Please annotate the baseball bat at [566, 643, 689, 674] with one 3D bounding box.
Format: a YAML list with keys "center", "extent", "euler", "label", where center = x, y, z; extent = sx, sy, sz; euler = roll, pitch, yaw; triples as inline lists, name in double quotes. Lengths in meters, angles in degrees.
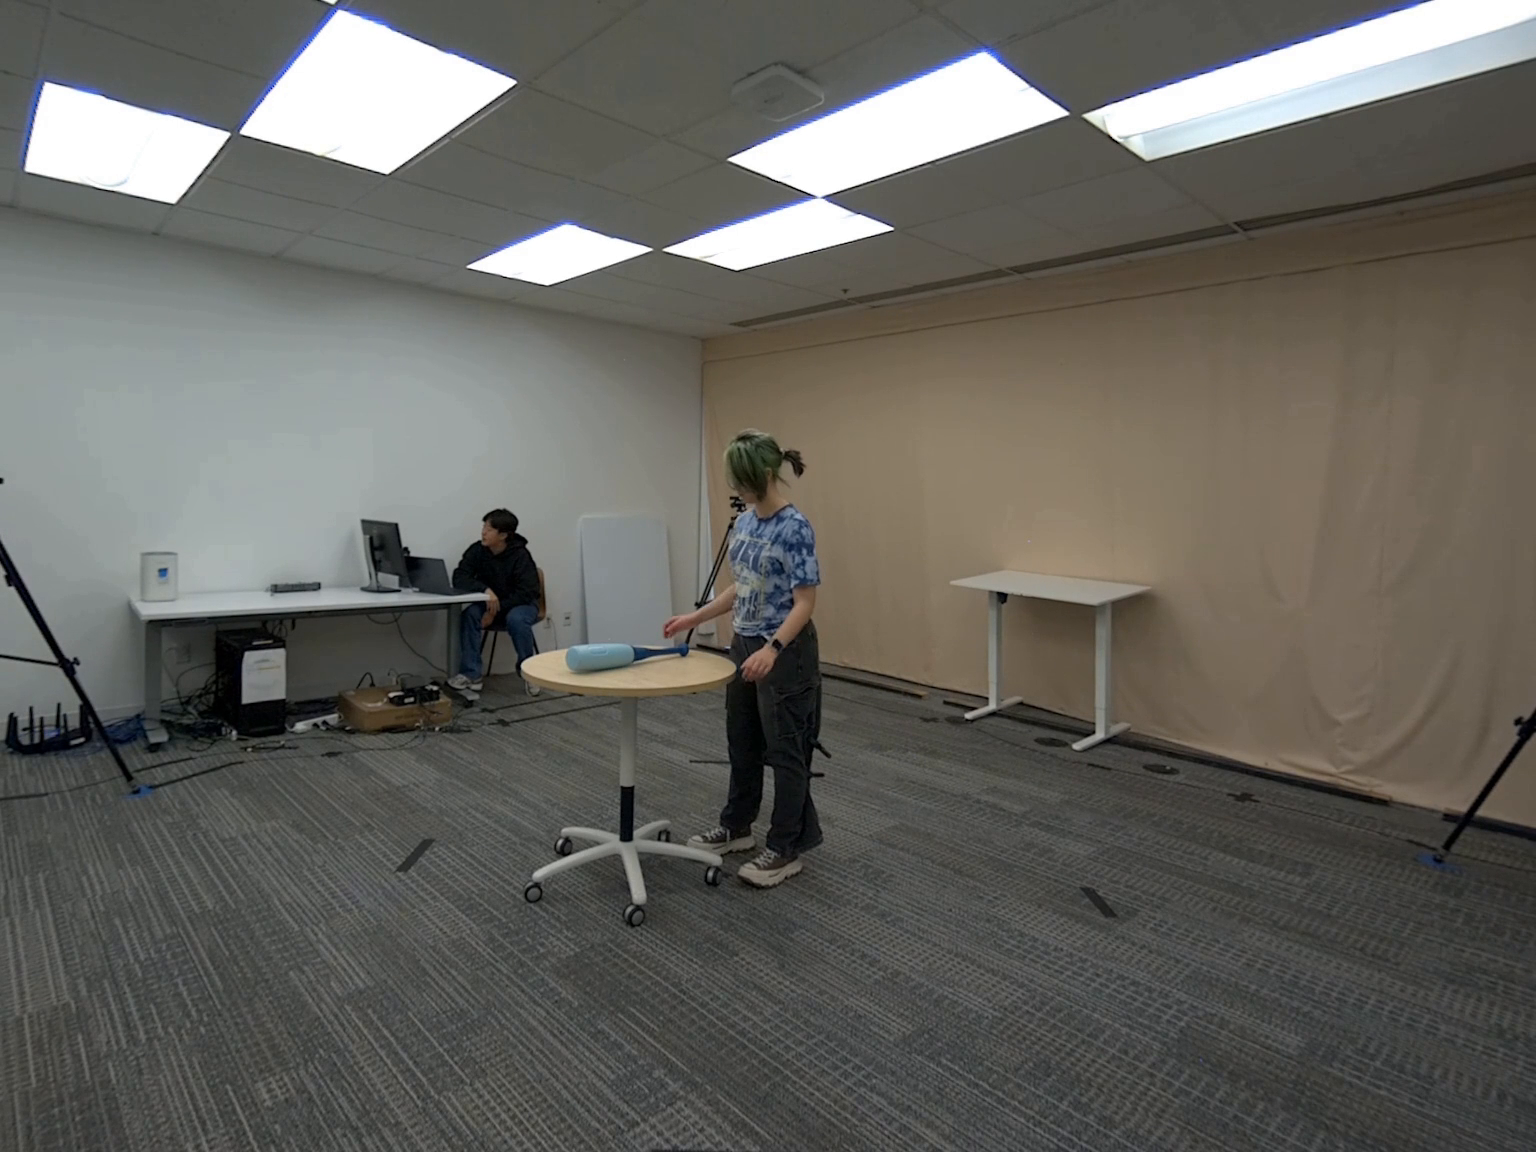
- center: [-0.496, 0.287, 3.028]
  extent: [0.091, 0.089, 0.530]
  euler: [5, 2, 39]
  label: "baseball bat"
